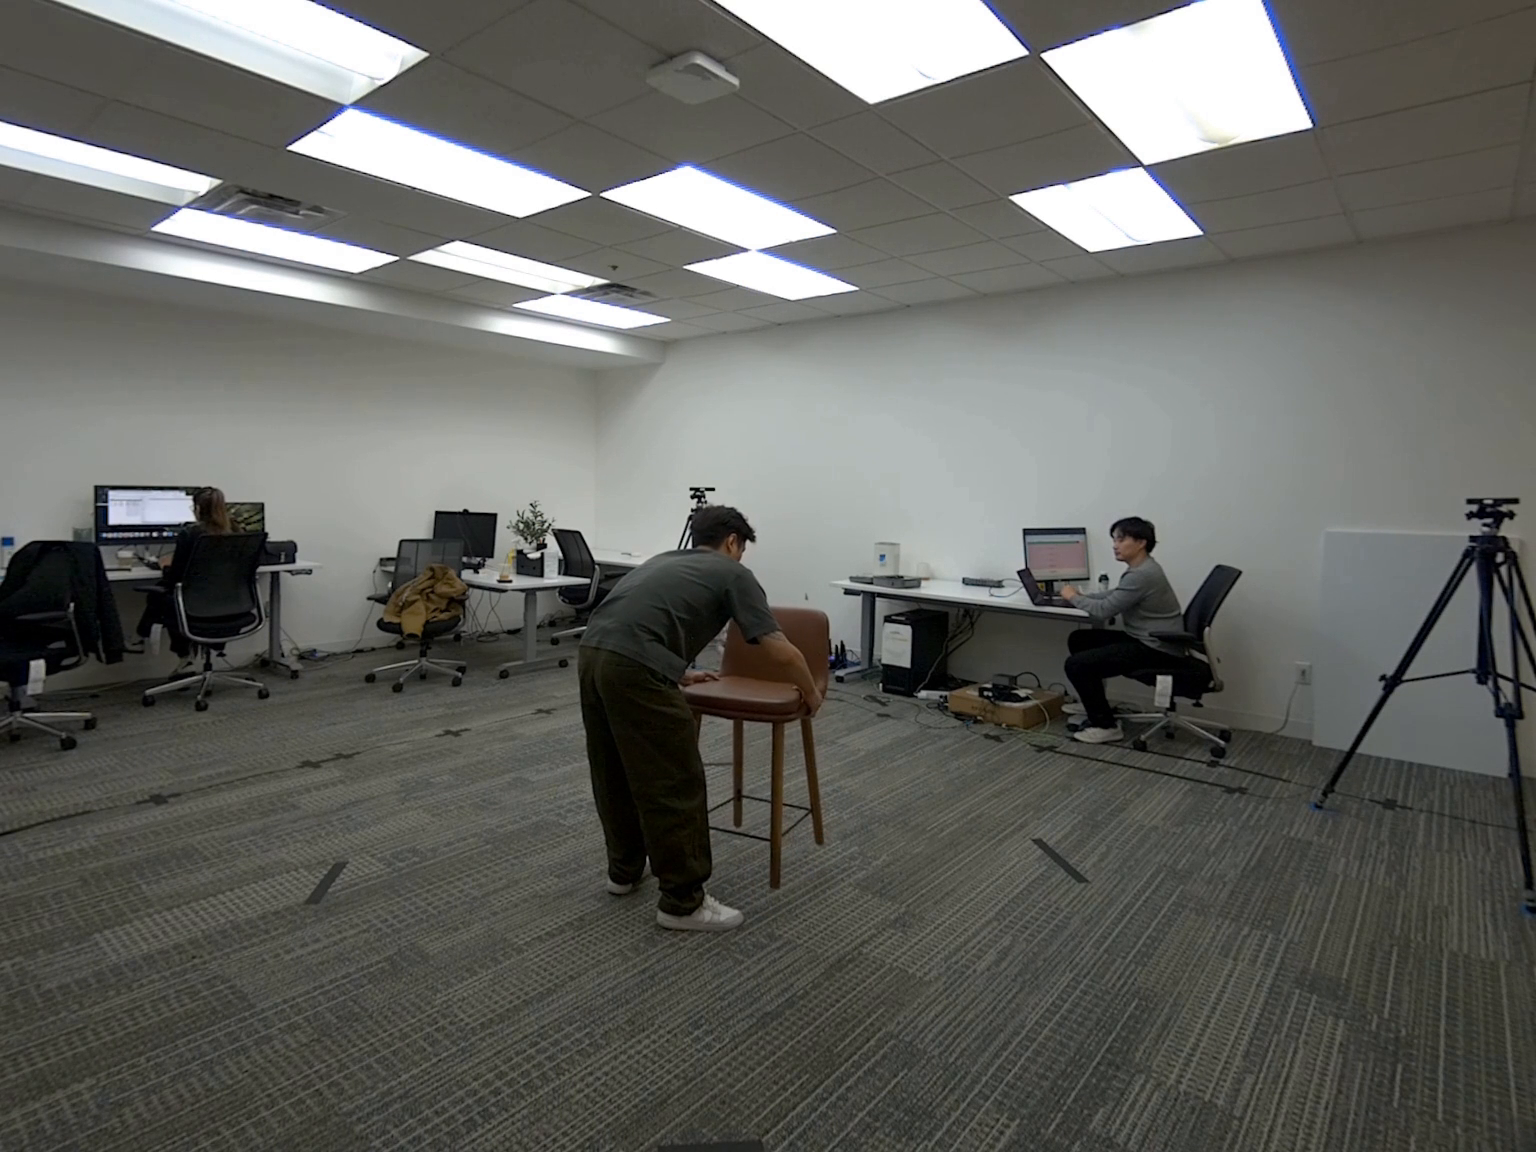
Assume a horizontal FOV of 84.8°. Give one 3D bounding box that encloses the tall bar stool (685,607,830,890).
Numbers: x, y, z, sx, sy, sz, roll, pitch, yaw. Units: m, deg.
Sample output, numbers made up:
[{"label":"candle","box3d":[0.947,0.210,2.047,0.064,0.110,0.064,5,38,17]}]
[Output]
[{"label":"tall bar stool","box3d":[-0.056,0.570,3.068,0.469,0.890,0.455,2,1,28]}]
